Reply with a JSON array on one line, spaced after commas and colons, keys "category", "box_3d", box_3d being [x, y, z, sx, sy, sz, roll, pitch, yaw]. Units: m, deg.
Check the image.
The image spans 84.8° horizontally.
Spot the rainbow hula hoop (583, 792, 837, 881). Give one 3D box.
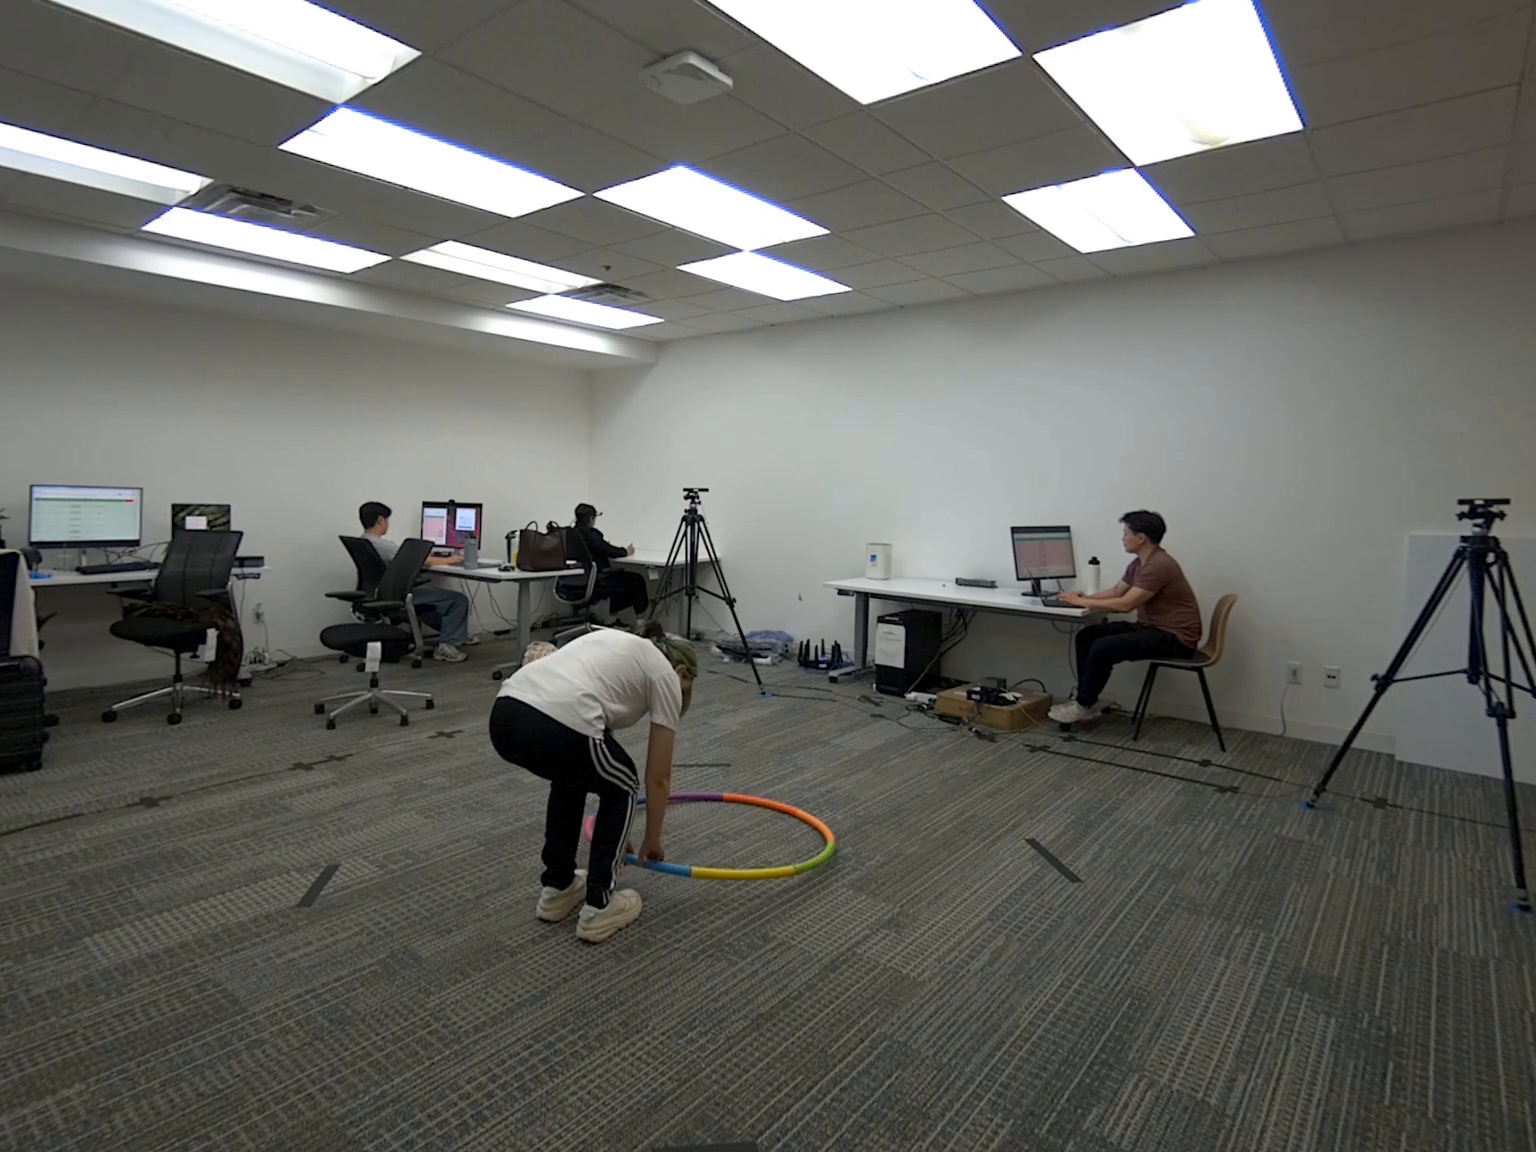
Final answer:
[{"category": "rainbow hula hoop", "box_3d": [-0.233, 0.982, 3.323, 0.978, 0.035, 0.980, 3, 1, -2]}]
